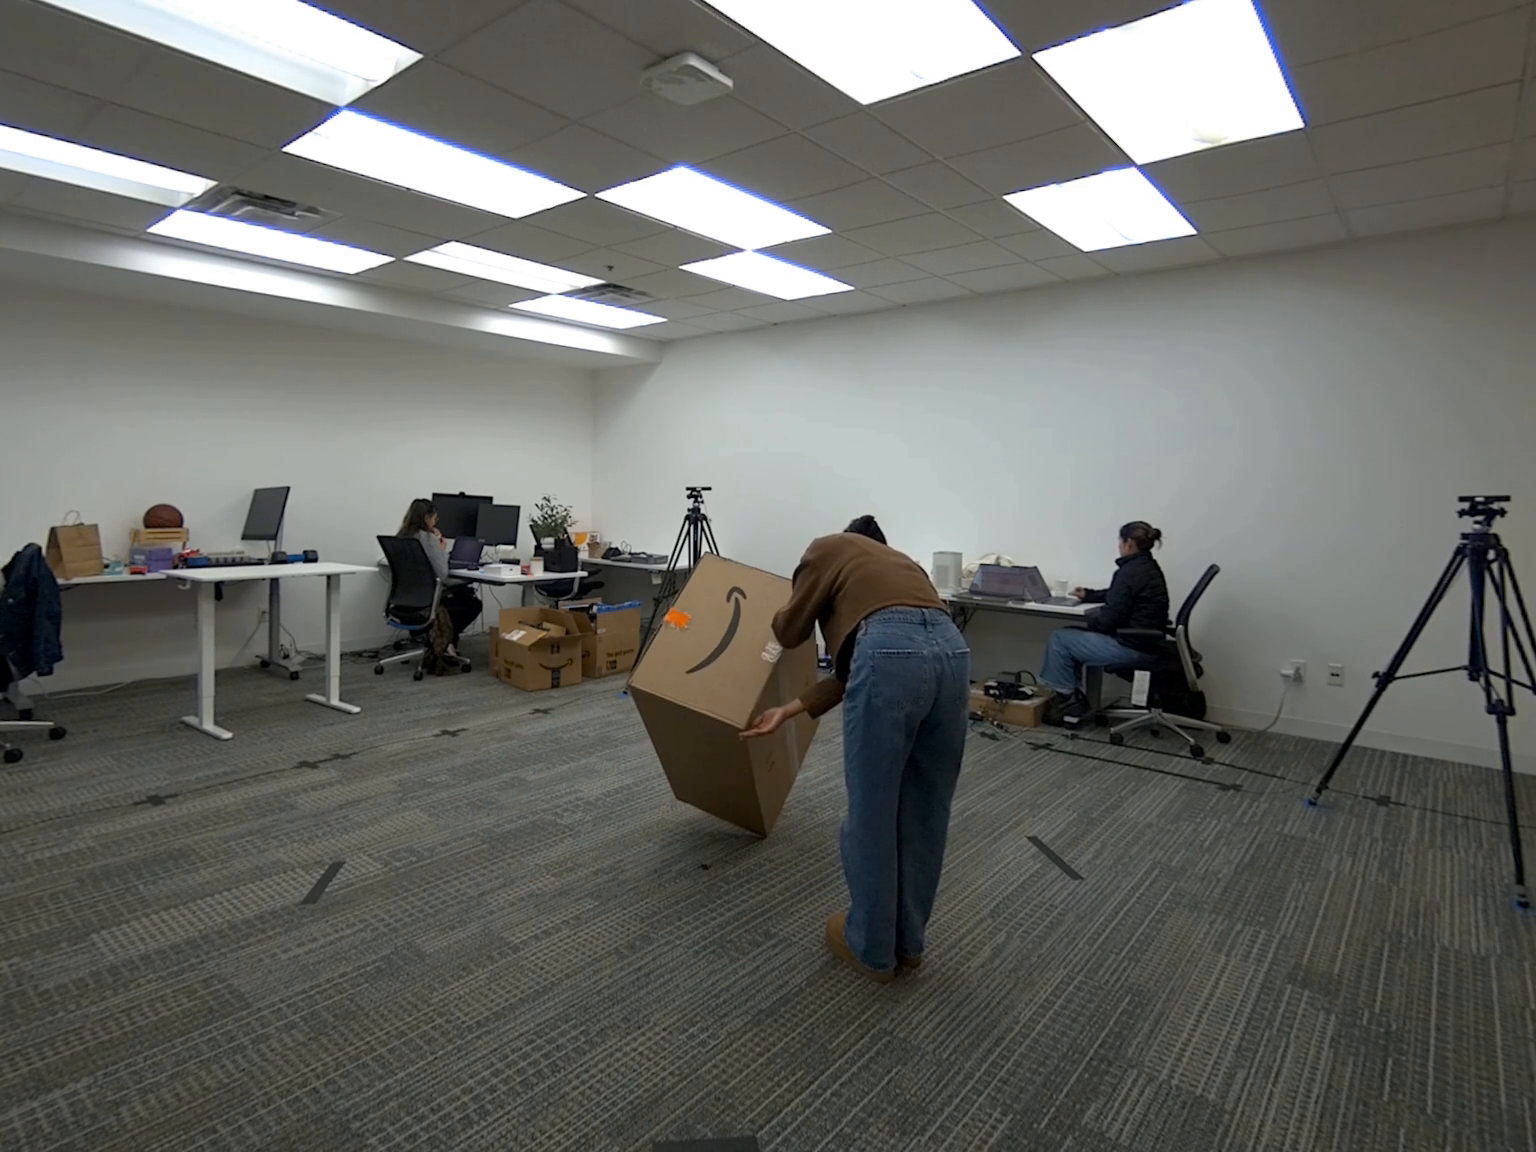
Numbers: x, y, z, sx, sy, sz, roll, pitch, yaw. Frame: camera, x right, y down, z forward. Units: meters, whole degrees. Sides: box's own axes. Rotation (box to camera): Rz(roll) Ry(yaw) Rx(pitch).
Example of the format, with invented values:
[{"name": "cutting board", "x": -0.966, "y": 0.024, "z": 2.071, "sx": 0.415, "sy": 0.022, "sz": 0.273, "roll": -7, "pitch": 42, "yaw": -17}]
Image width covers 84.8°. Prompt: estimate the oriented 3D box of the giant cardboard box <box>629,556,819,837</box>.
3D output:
[{"name": "giant cardboard box", "x": -0.132, "y": 0.484, "z": 3.222, "sx": 0.457, "sy": 0.589, "sz": 0.994, "roll": 17, "pitch": -33, "yaw": 17}]
